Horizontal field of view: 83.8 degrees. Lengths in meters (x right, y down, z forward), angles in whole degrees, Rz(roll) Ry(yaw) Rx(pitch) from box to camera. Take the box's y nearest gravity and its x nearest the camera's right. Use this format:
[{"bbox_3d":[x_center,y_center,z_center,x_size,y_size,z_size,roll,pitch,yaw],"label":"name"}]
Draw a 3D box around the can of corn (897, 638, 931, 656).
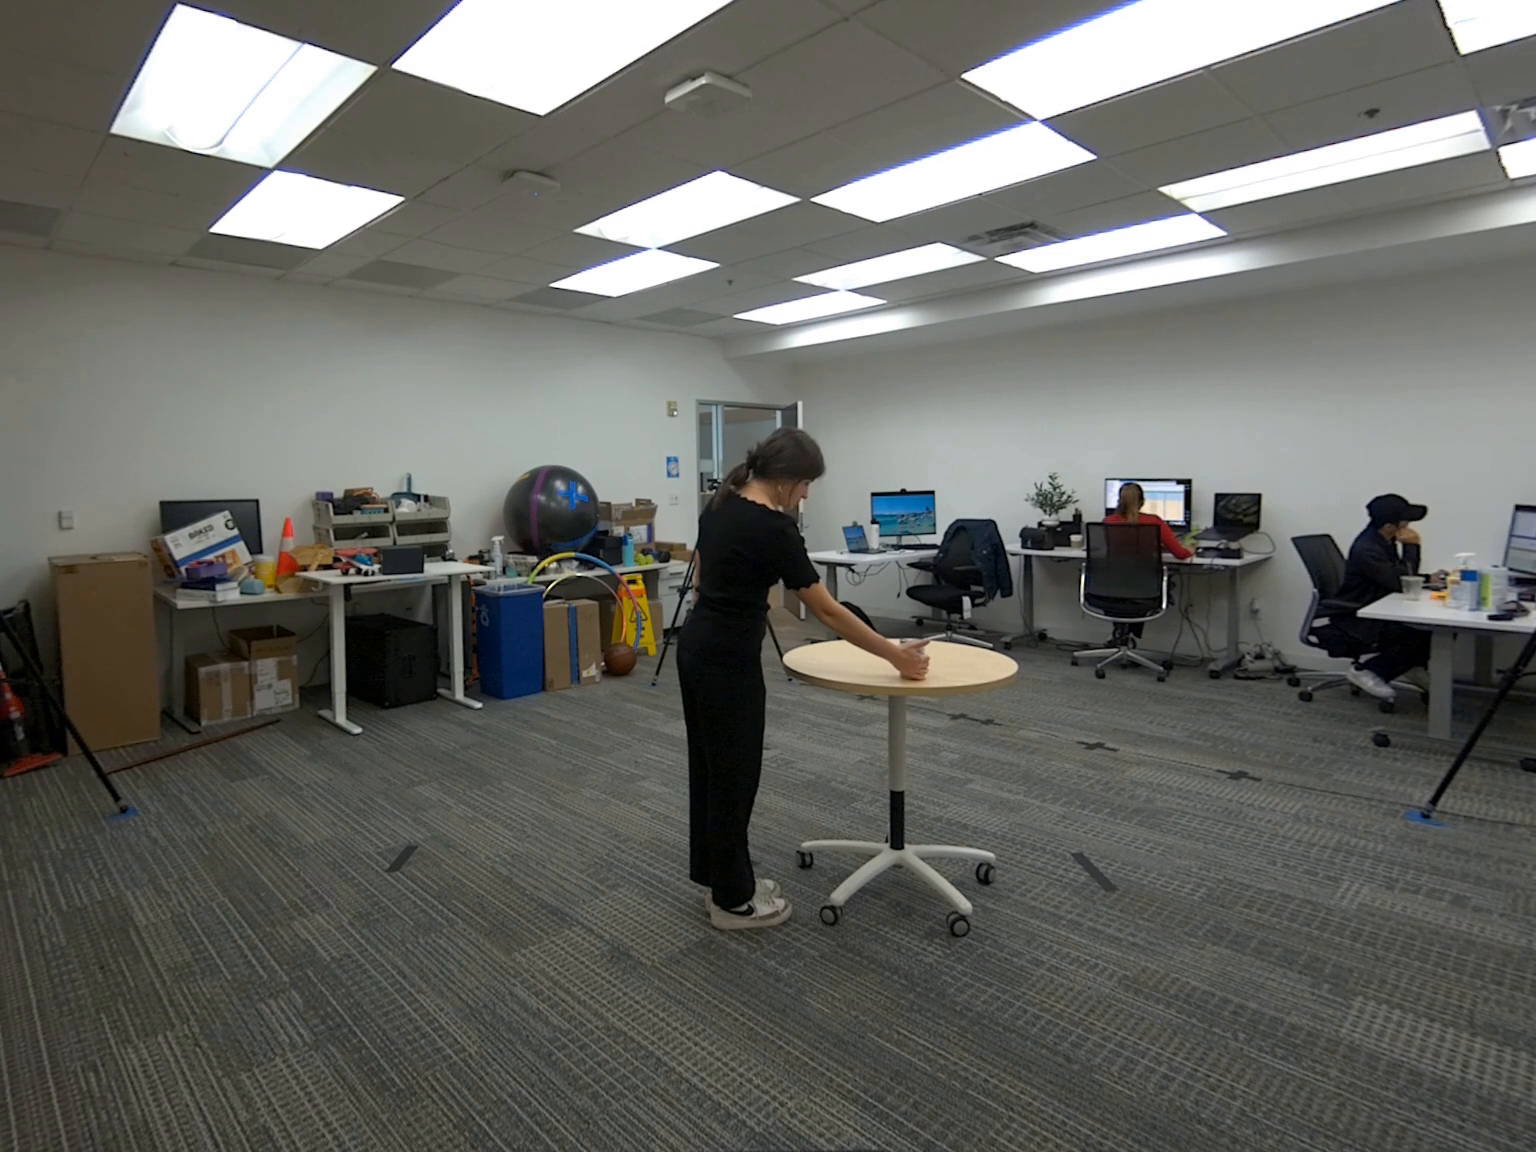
[{"bbox_3d":[0.439,0.255,2.598,0.074,0.110,0.075,0,8,-2],"label":"can of corn"}]
